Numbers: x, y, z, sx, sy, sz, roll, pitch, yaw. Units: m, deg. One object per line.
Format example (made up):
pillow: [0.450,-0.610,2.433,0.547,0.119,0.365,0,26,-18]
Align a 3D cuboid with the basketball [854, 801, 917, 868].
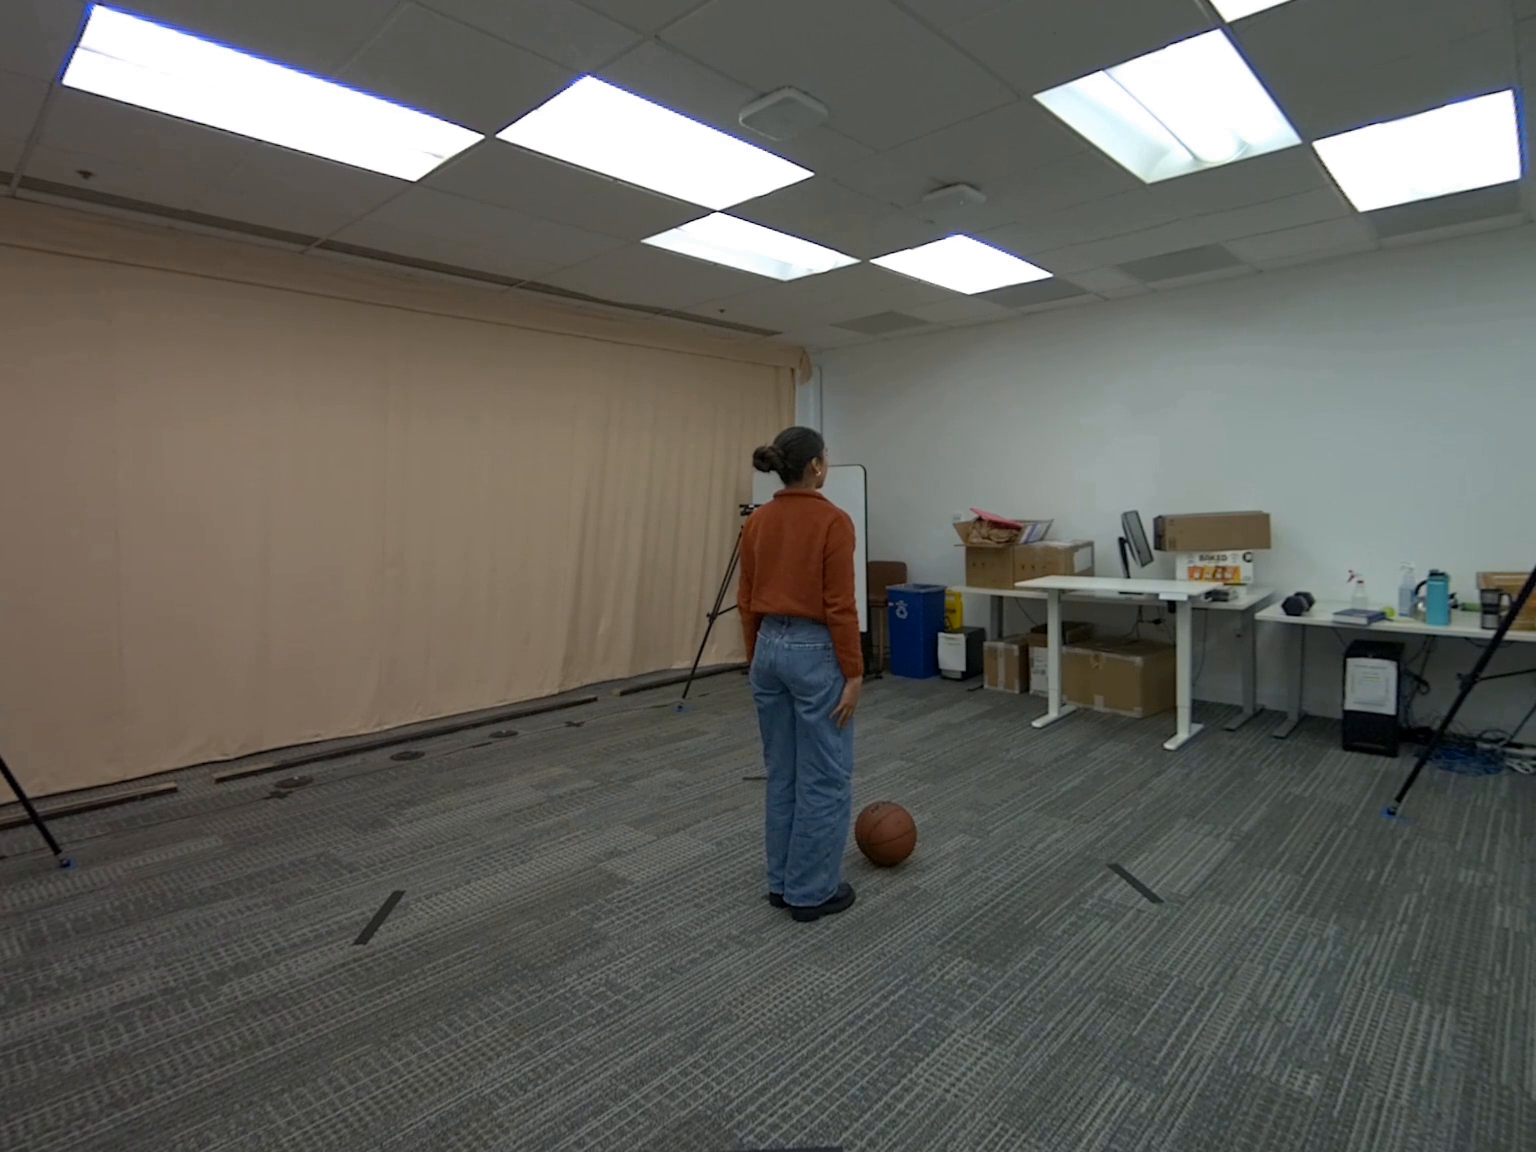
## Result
basketball: [0.455,0.991,3.247,0.236,0.235,0.237,-1,4,-2]
